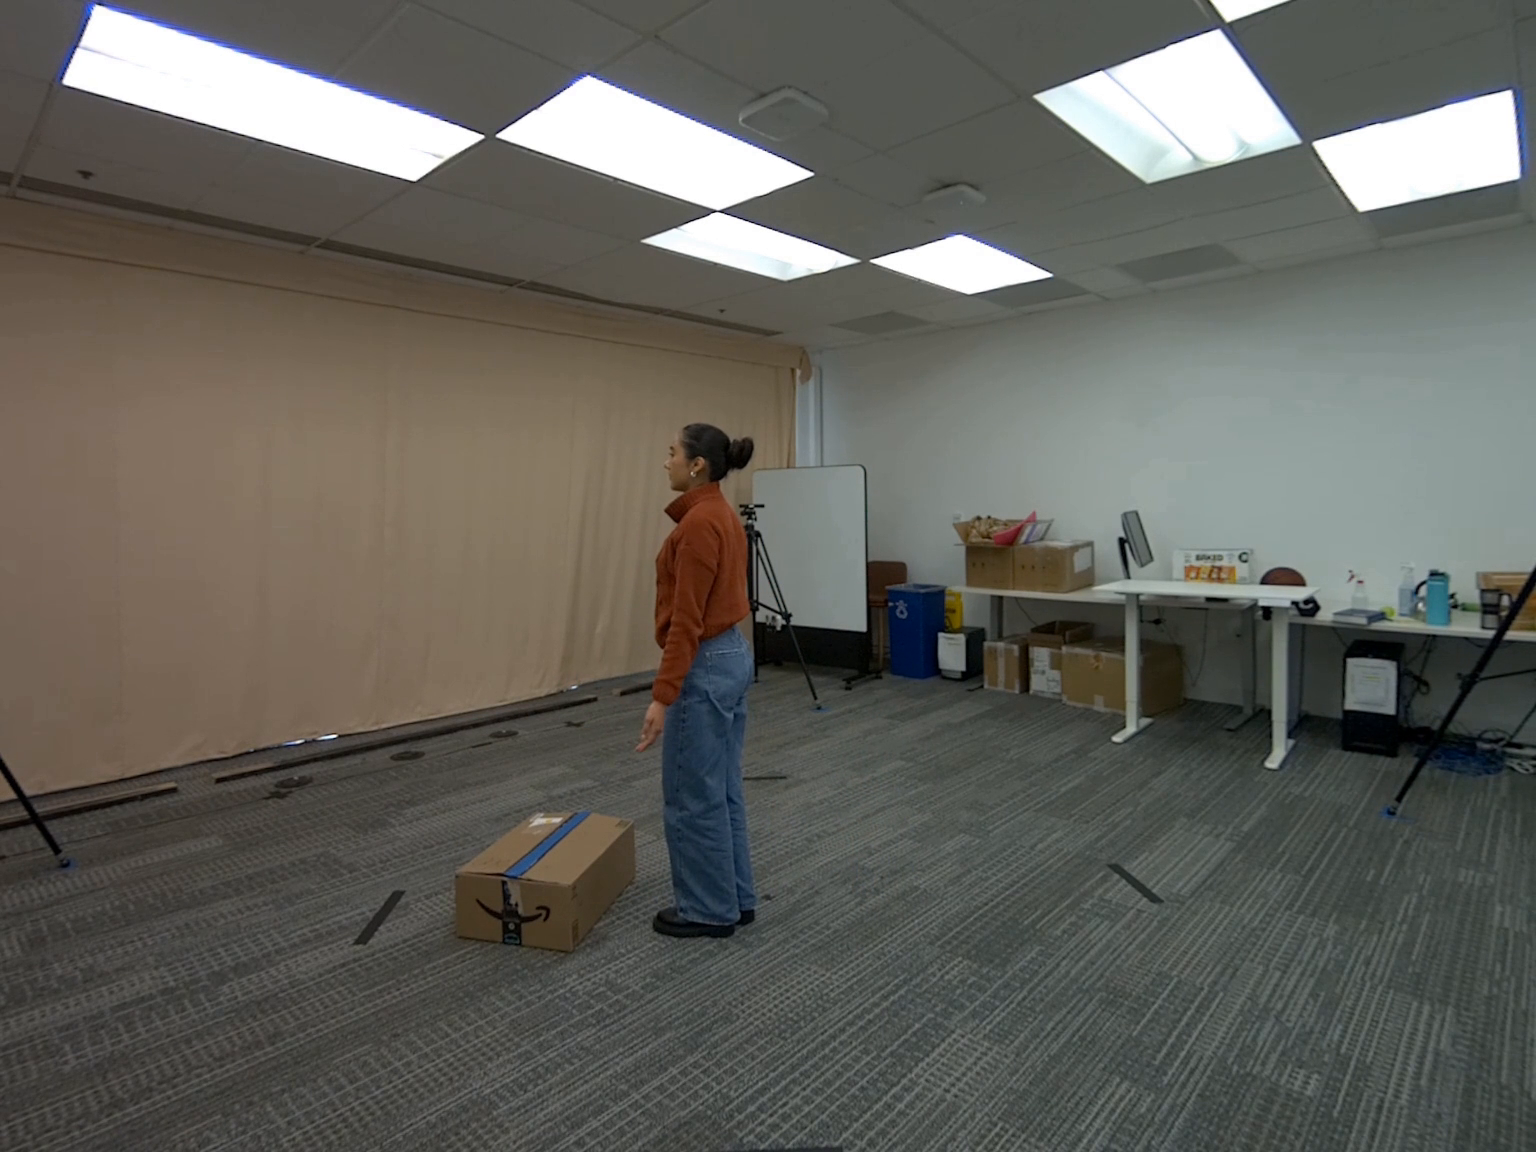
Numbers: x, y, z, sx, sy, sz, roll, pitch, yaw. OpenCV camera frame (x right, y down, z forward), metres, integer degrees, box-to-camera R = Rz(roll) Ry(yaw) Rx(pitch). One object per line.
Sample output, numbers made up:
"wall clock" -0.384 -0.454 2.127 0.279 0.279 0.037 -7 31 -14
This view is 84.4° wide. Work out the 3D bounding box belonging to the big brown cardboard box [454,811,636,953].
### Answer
"big brown cardboard box" -0.756 1.043 2.960 0.424 0.232 0.582 -1 5 13
